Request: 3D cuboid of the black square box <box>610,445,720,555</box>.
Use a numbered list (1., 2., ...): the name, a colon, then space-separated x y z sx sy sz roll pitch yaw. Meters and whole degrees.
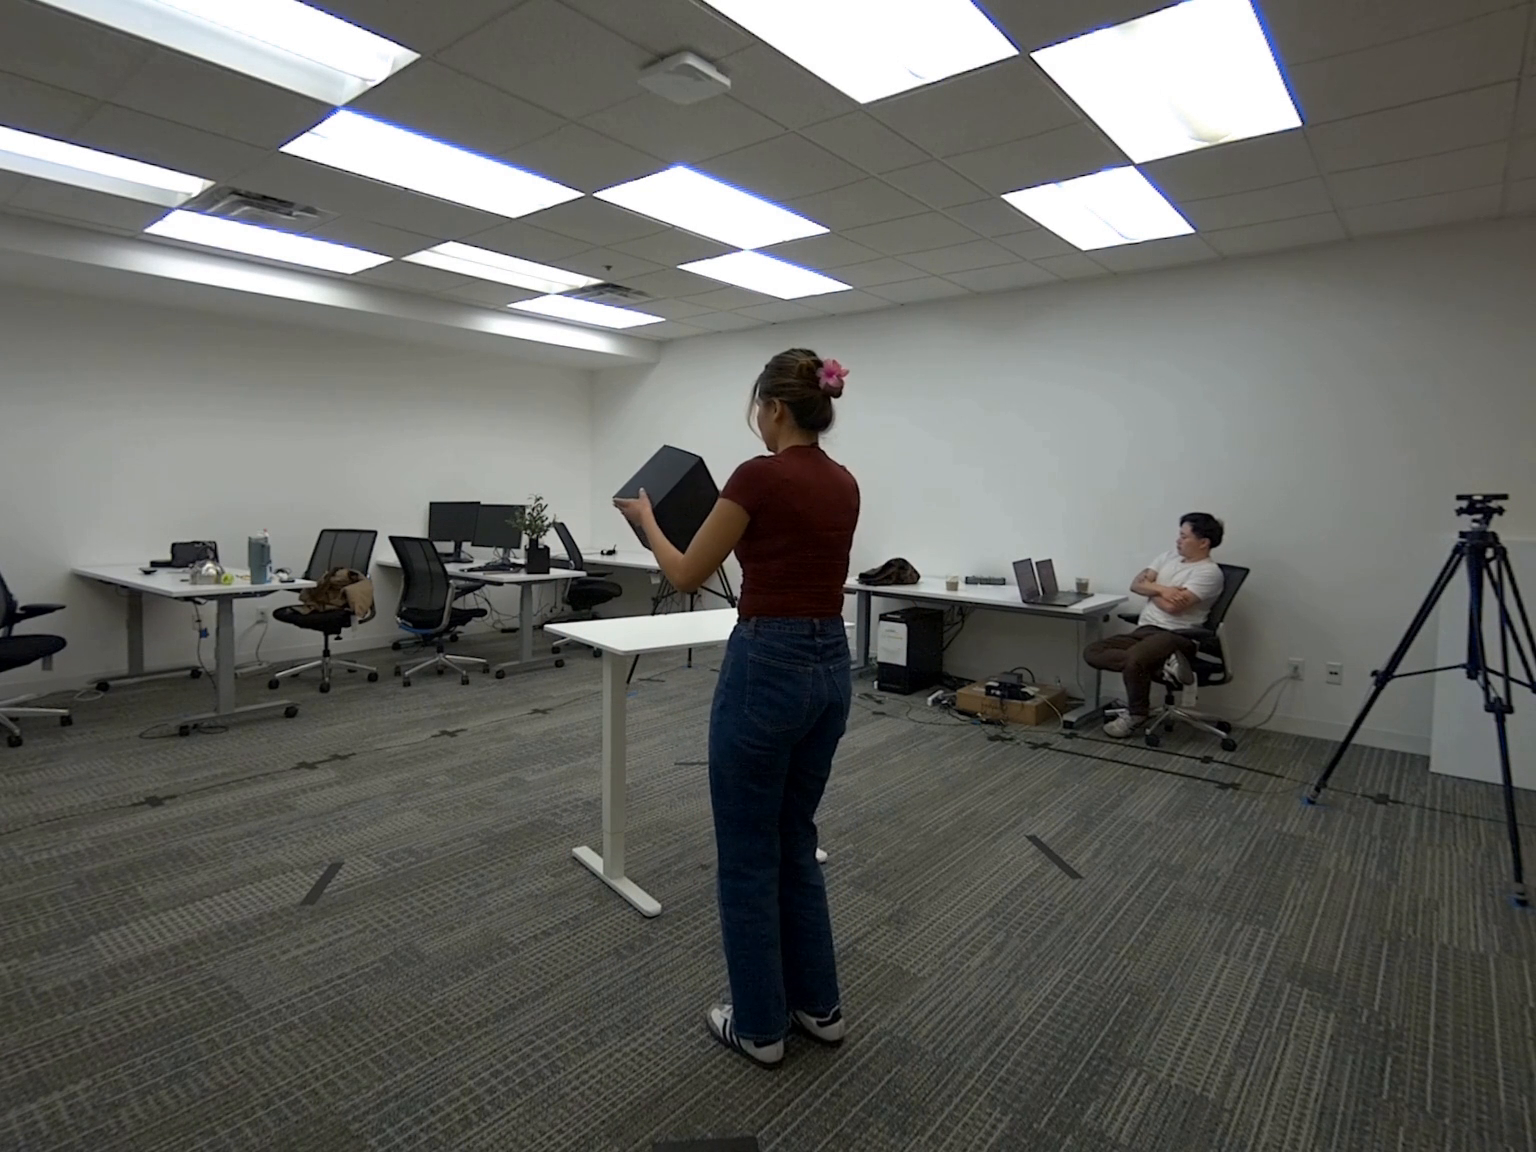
1. black square box: -0.281 -0.203 2.404 0.162 0.228 0.208 23 -27 38
